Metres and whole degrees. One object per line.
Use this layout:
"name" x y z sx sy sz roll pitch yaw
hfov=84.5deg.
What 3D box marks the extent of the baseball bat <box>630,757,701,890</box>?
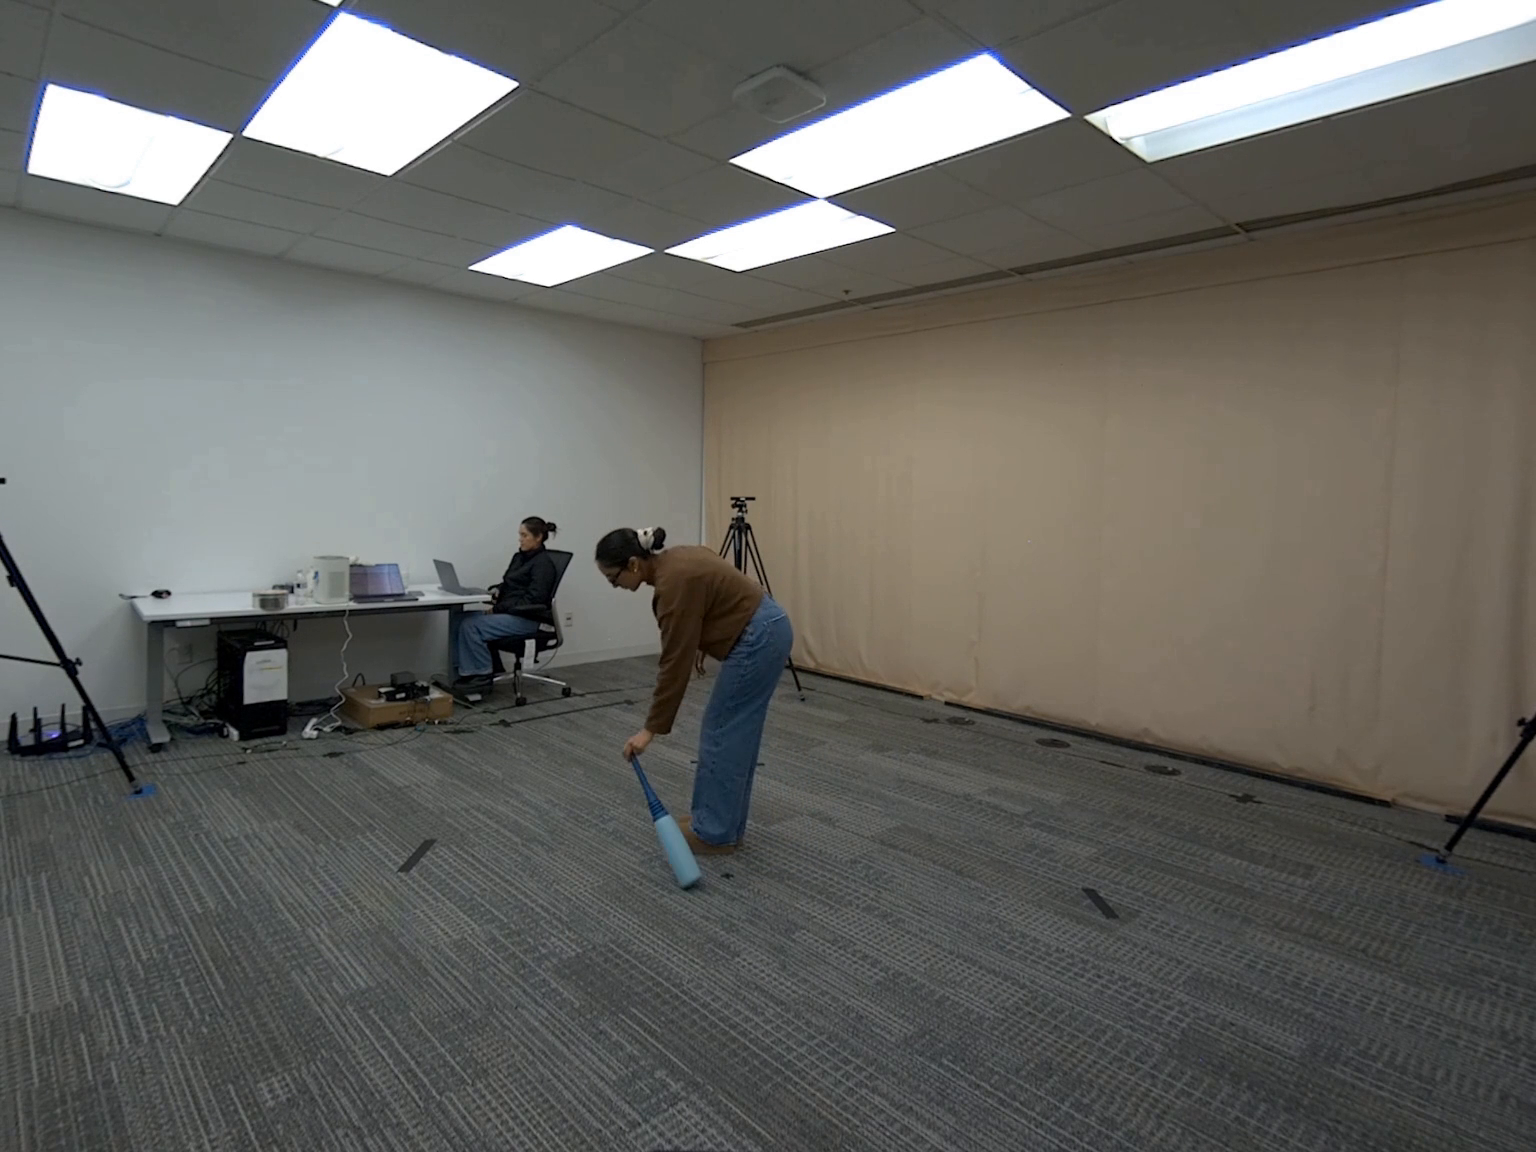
"baseball bat" -0.398 0.882 3.089 0.088 0.555 0.087 -27 -22 -12
